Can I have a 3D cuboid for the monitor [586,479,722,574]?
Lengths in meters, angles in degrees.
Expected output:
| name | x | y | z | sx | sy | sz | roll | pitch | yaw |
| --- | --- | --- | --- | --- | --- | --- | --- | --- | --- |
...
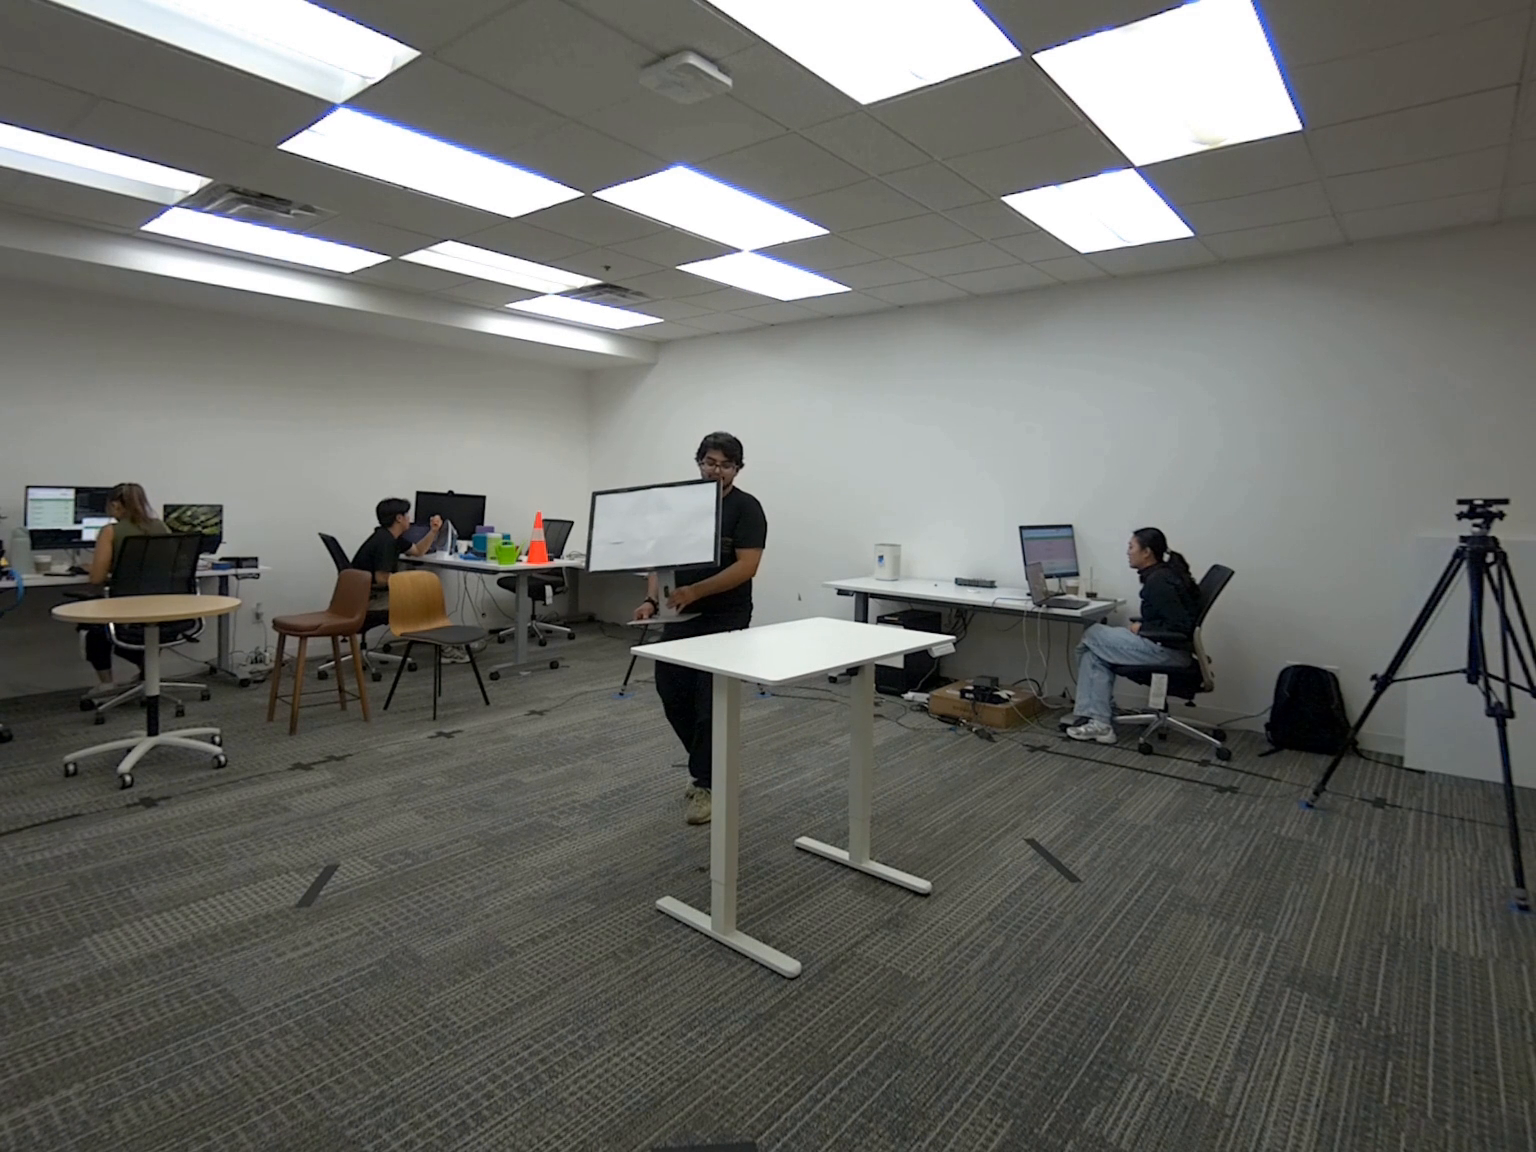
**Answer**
| name | x | y | z | sx | sy | sz | roll | pitch | yaw |
| --- | --- | --- | --- | --- | --- | --- | --- | --- | --- |
| monitor | -0.439 | -0.093 | 3.386 | 0.575 | 0.561 | 0.204 | -6 | -12 | 18 |
